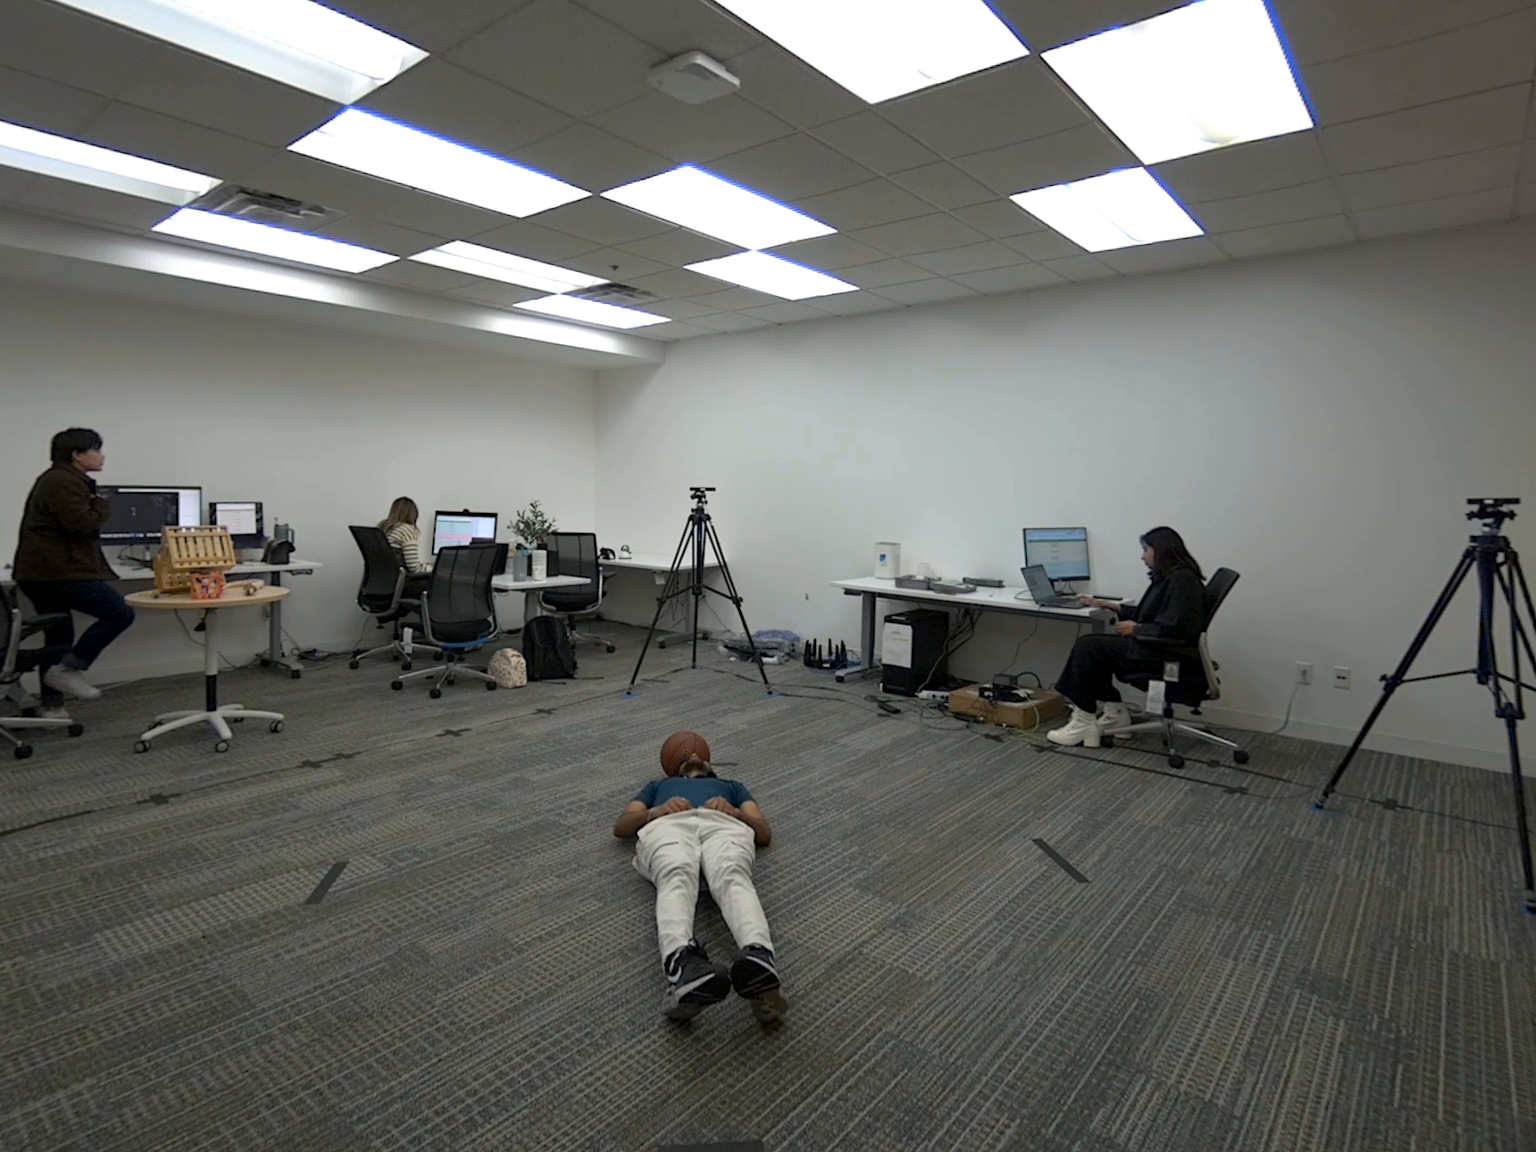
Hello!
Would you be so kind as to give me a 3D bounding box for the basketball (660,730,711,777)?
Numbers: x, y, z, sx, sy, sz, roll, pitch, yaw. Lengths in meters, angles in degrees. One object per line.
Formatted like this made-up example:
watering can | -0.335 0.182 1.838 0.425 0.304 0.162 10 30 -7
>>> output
basketball | -0.405 0.852 4.037 0.235 0.235 0.237 1 4 -2
